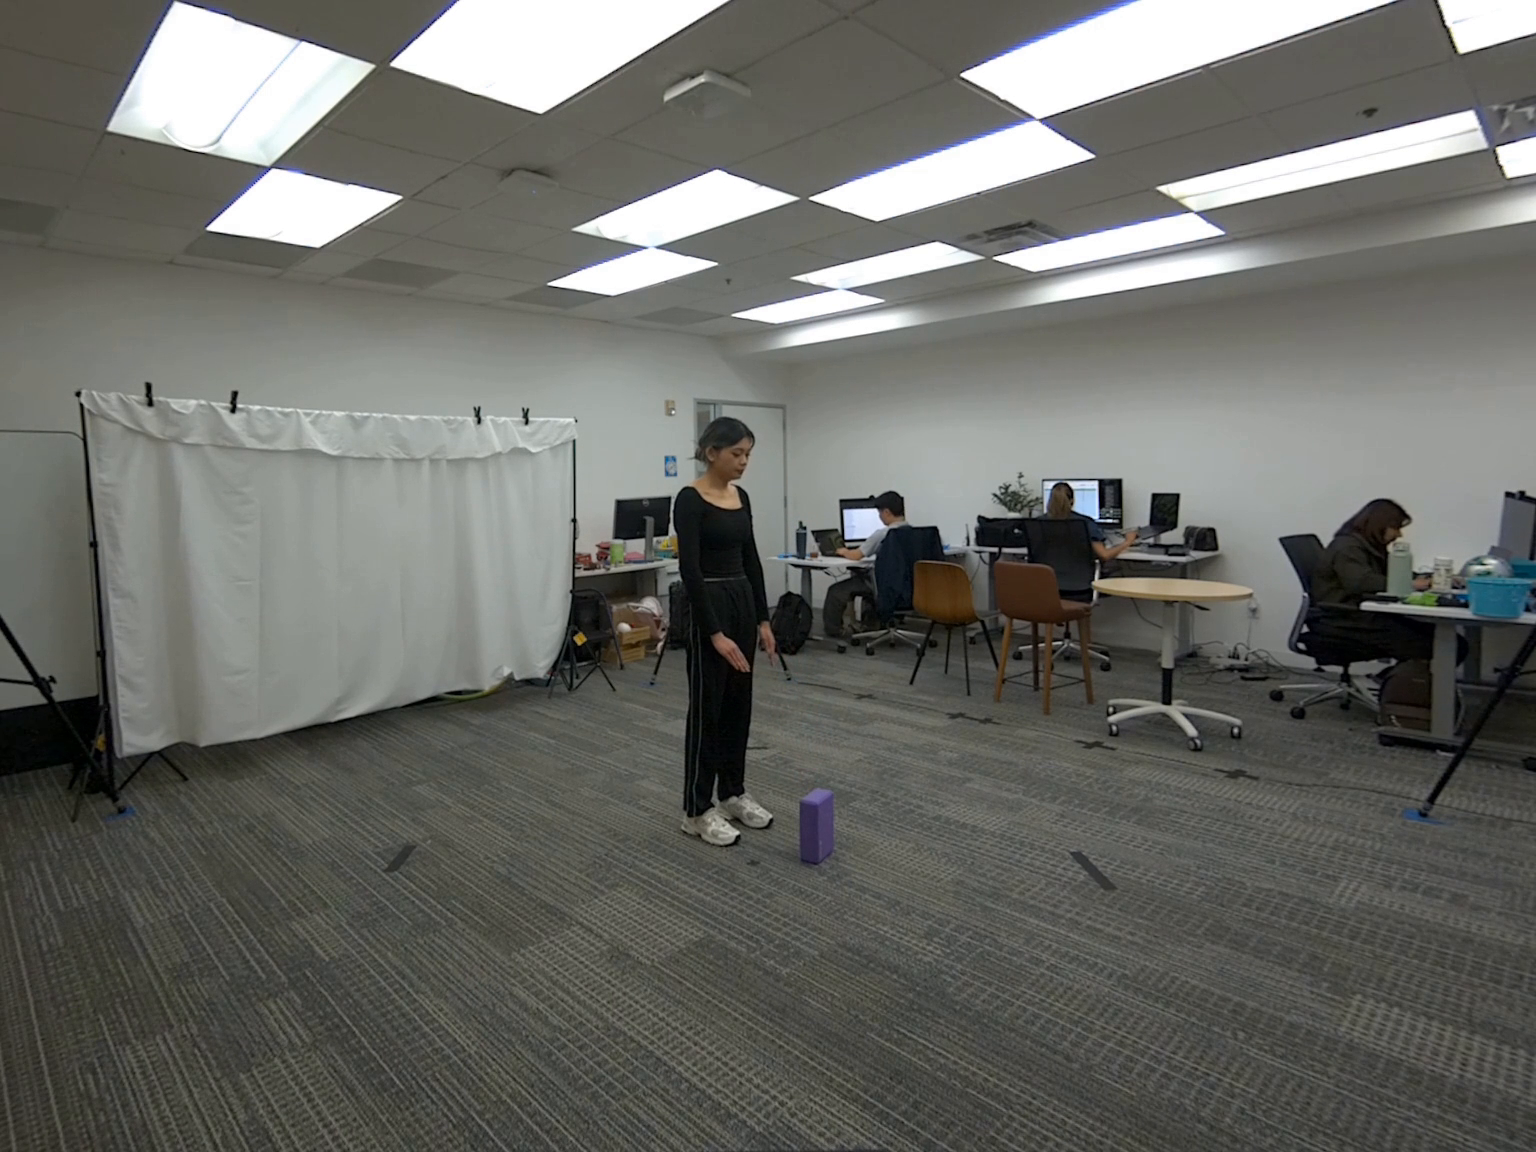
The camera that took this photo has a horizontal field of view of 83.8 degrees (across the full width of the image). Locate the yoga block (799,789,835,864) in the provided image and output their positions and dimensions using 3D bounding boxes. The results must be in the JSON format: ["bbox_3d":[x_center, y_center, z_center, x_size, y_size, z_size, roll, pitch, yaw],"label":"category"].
[{"bbox_3d":[0.185,0.919,3.148,0.078,0.229,0.146,2,4,29],"label":"yoga block"}]
